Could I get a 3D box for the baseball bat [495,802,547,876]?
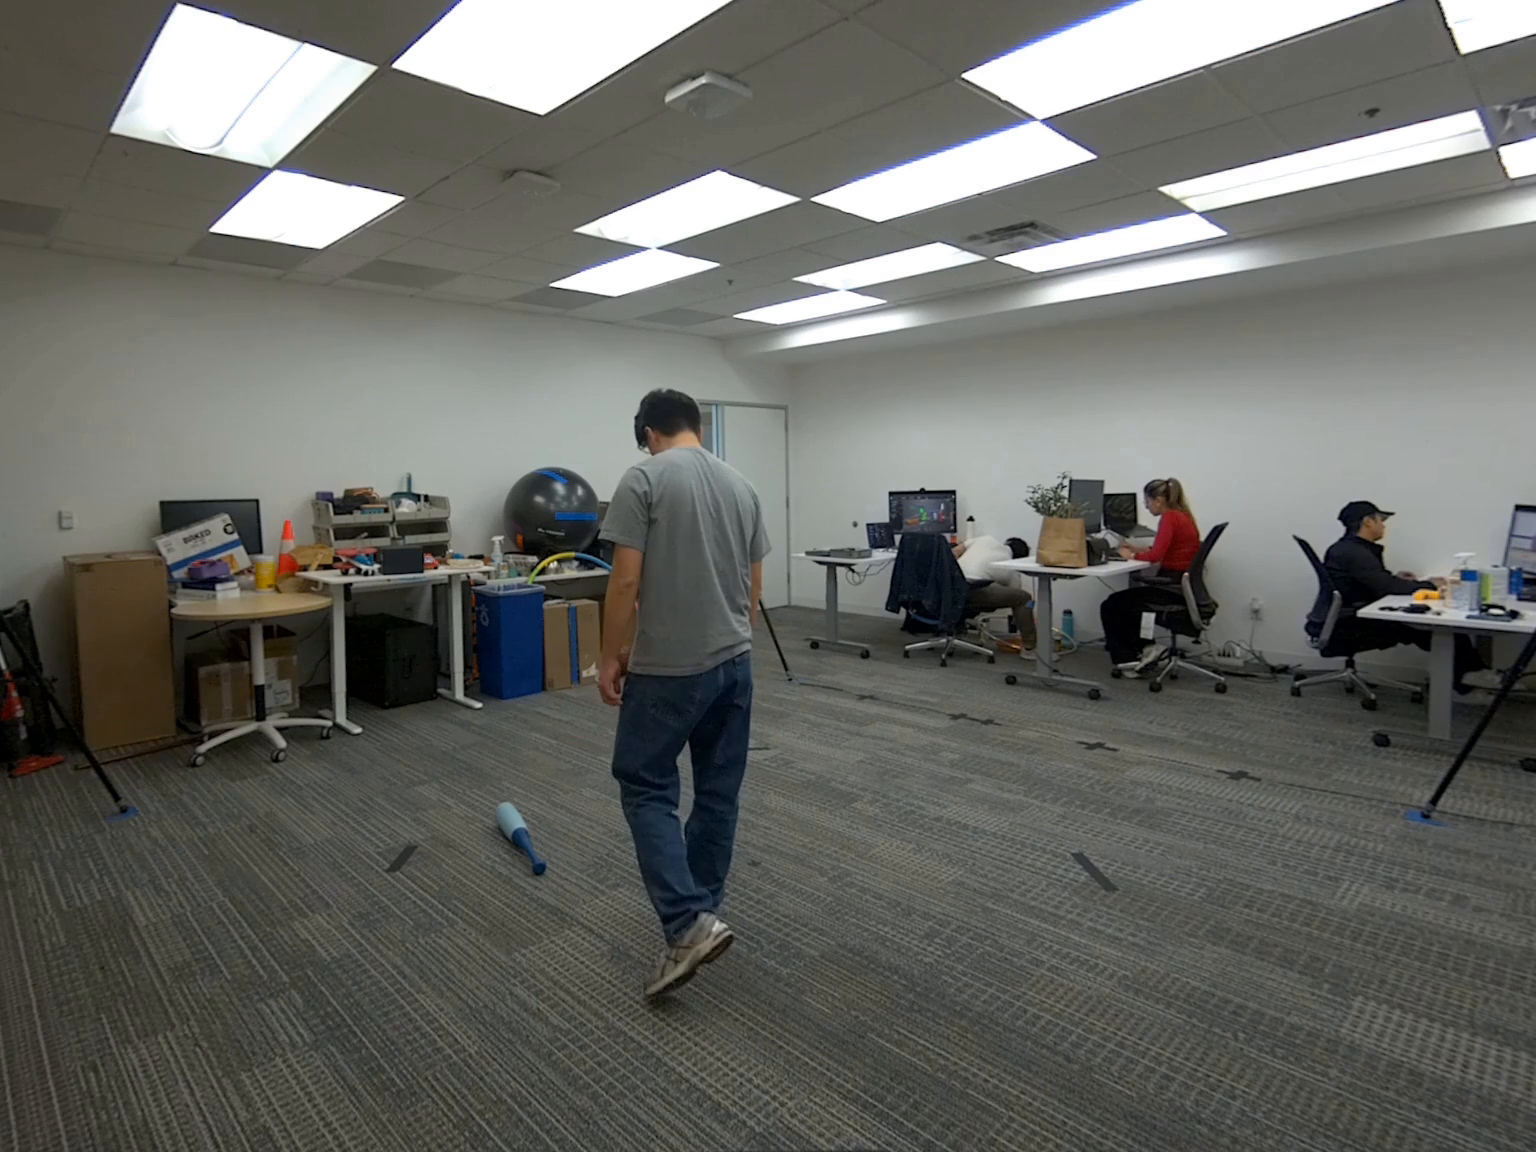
[{"bbox_3d":[-0.946,1.011,3.281,0.087,0.088,0.559,-3,10,-29],"label":"baseball bat"}]
